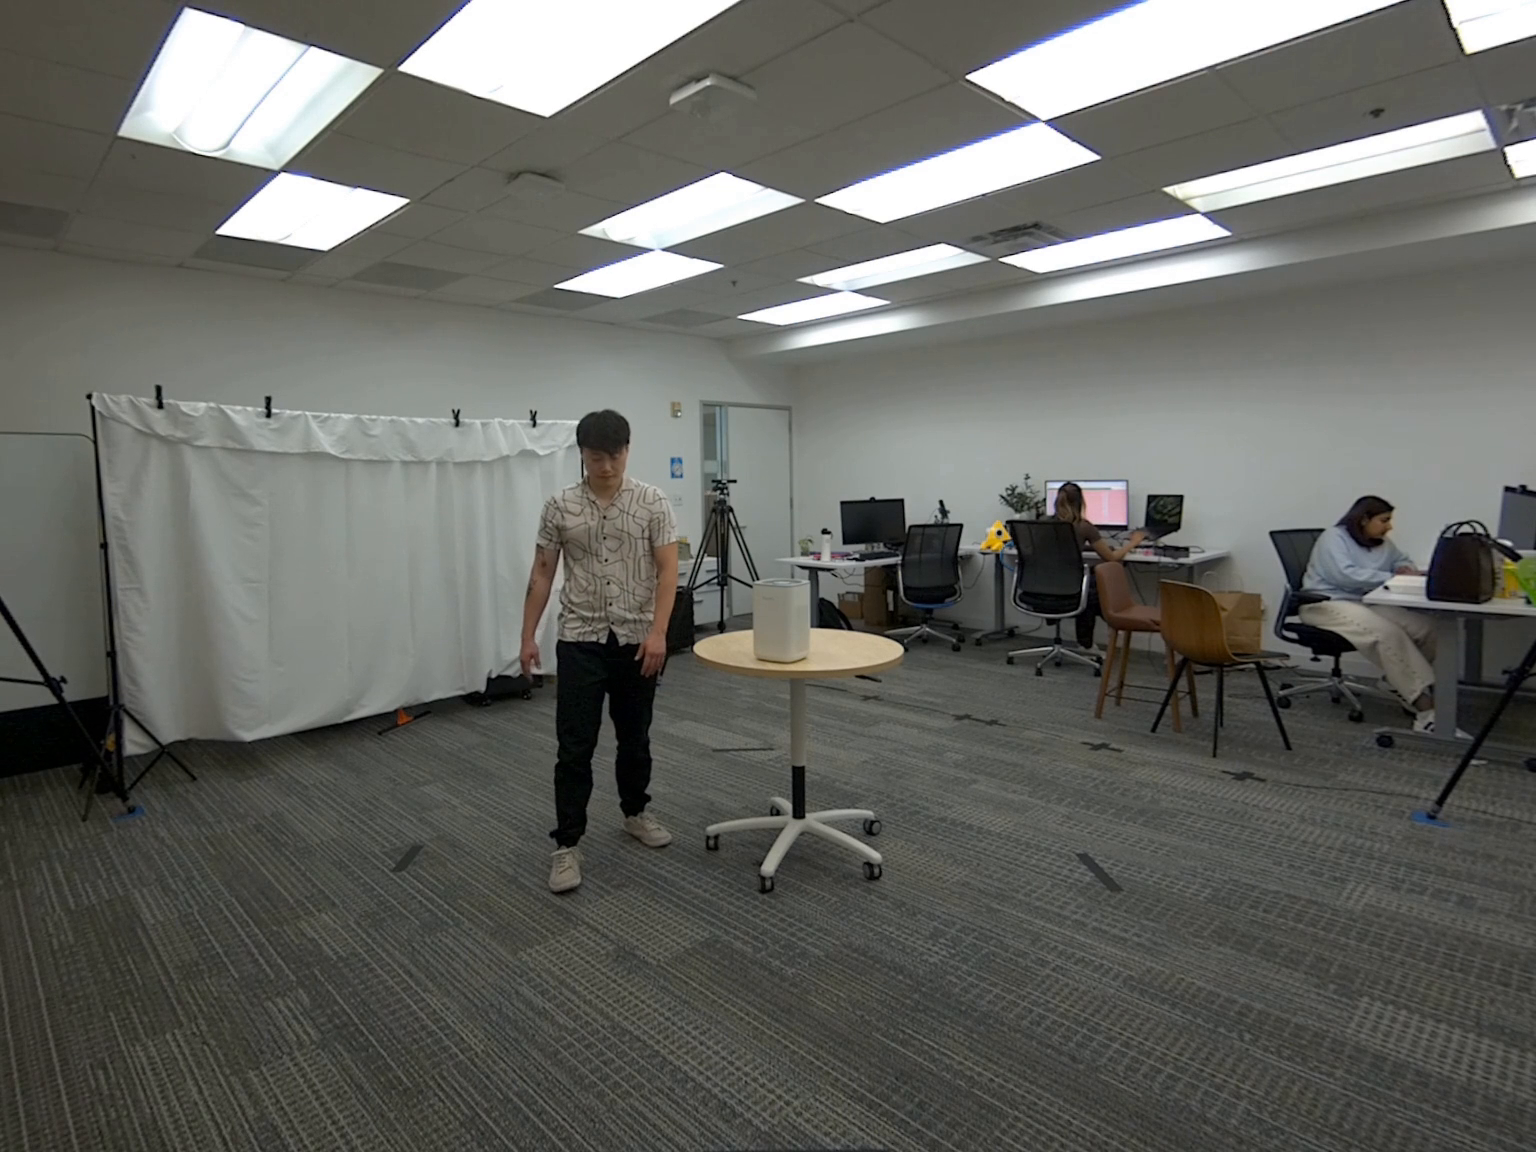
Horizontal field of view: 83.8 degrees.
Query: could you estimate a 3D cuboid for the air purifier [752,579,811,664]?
[{"bbox_3d":[0.046,0.150,2.934,0.176,0.264,0.167,3,6,34],"label":"air purifier"}]
